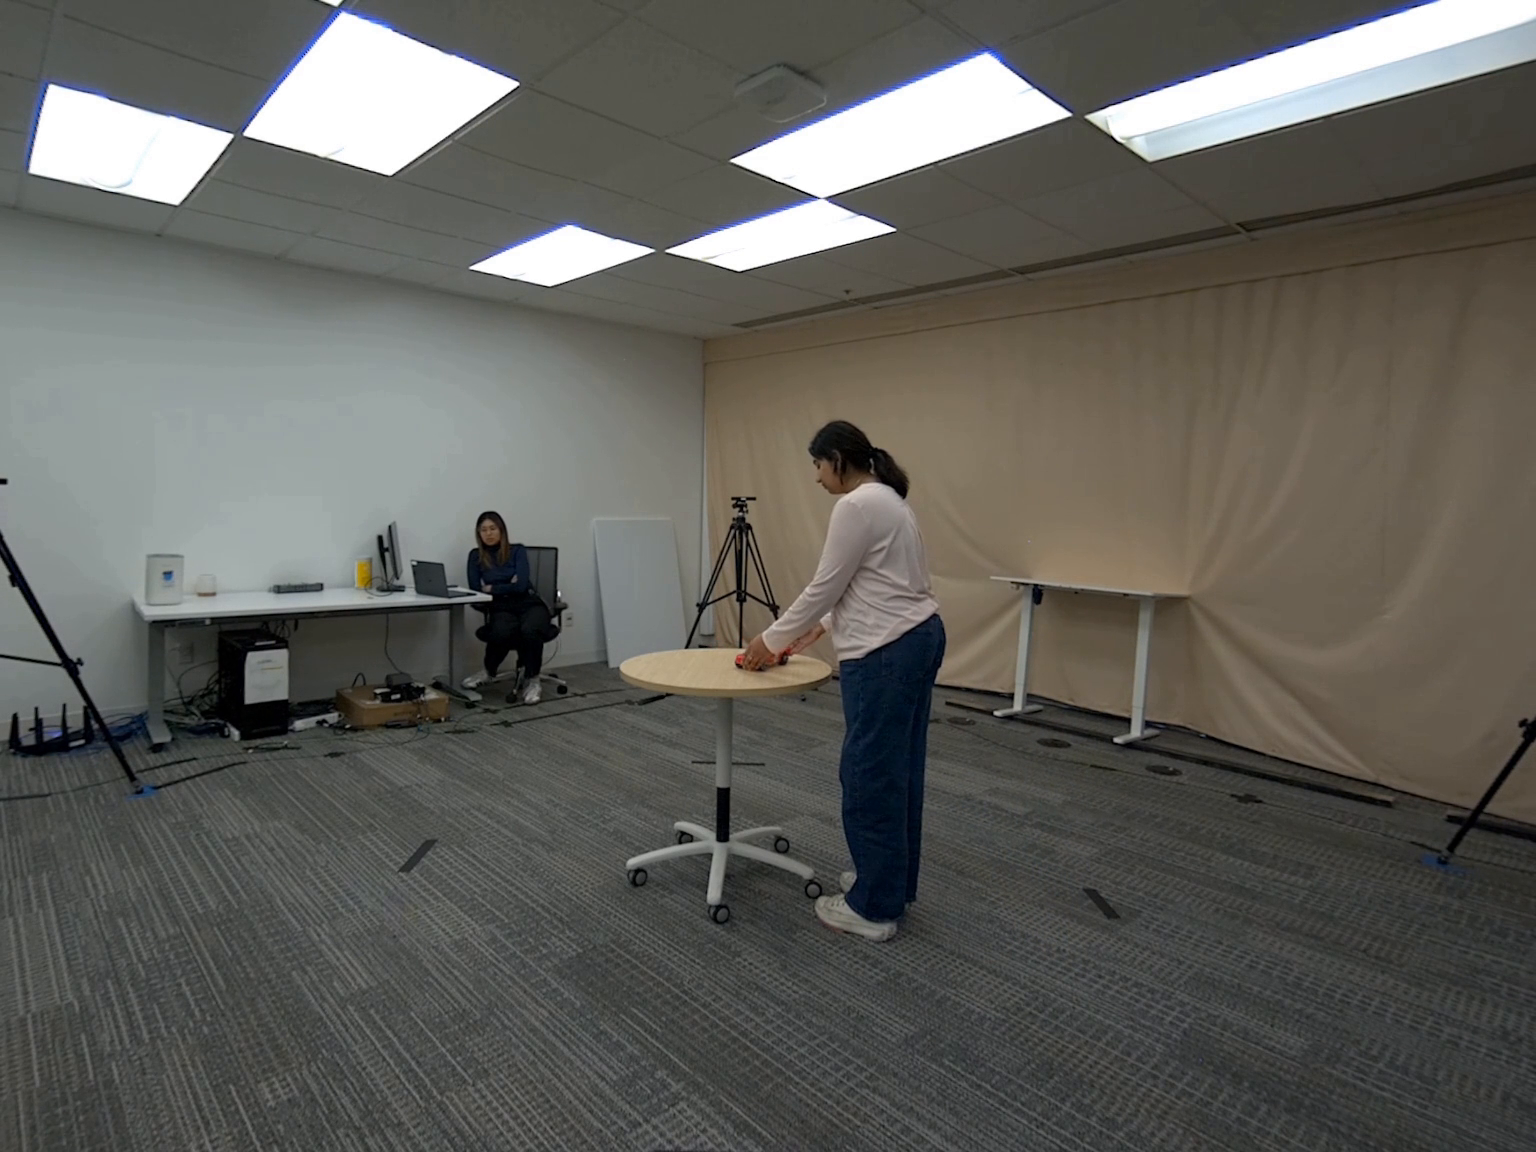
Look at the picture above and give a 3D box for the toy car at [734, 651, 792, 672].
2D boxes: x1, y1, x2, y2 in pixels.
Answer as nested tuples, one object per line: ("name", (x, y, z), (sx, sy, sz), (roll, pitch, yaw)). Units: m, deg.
("toy car", (-0.016, 0.298, 3.075), (0.133, 0.082, 0.251), (2, 15, 30))
